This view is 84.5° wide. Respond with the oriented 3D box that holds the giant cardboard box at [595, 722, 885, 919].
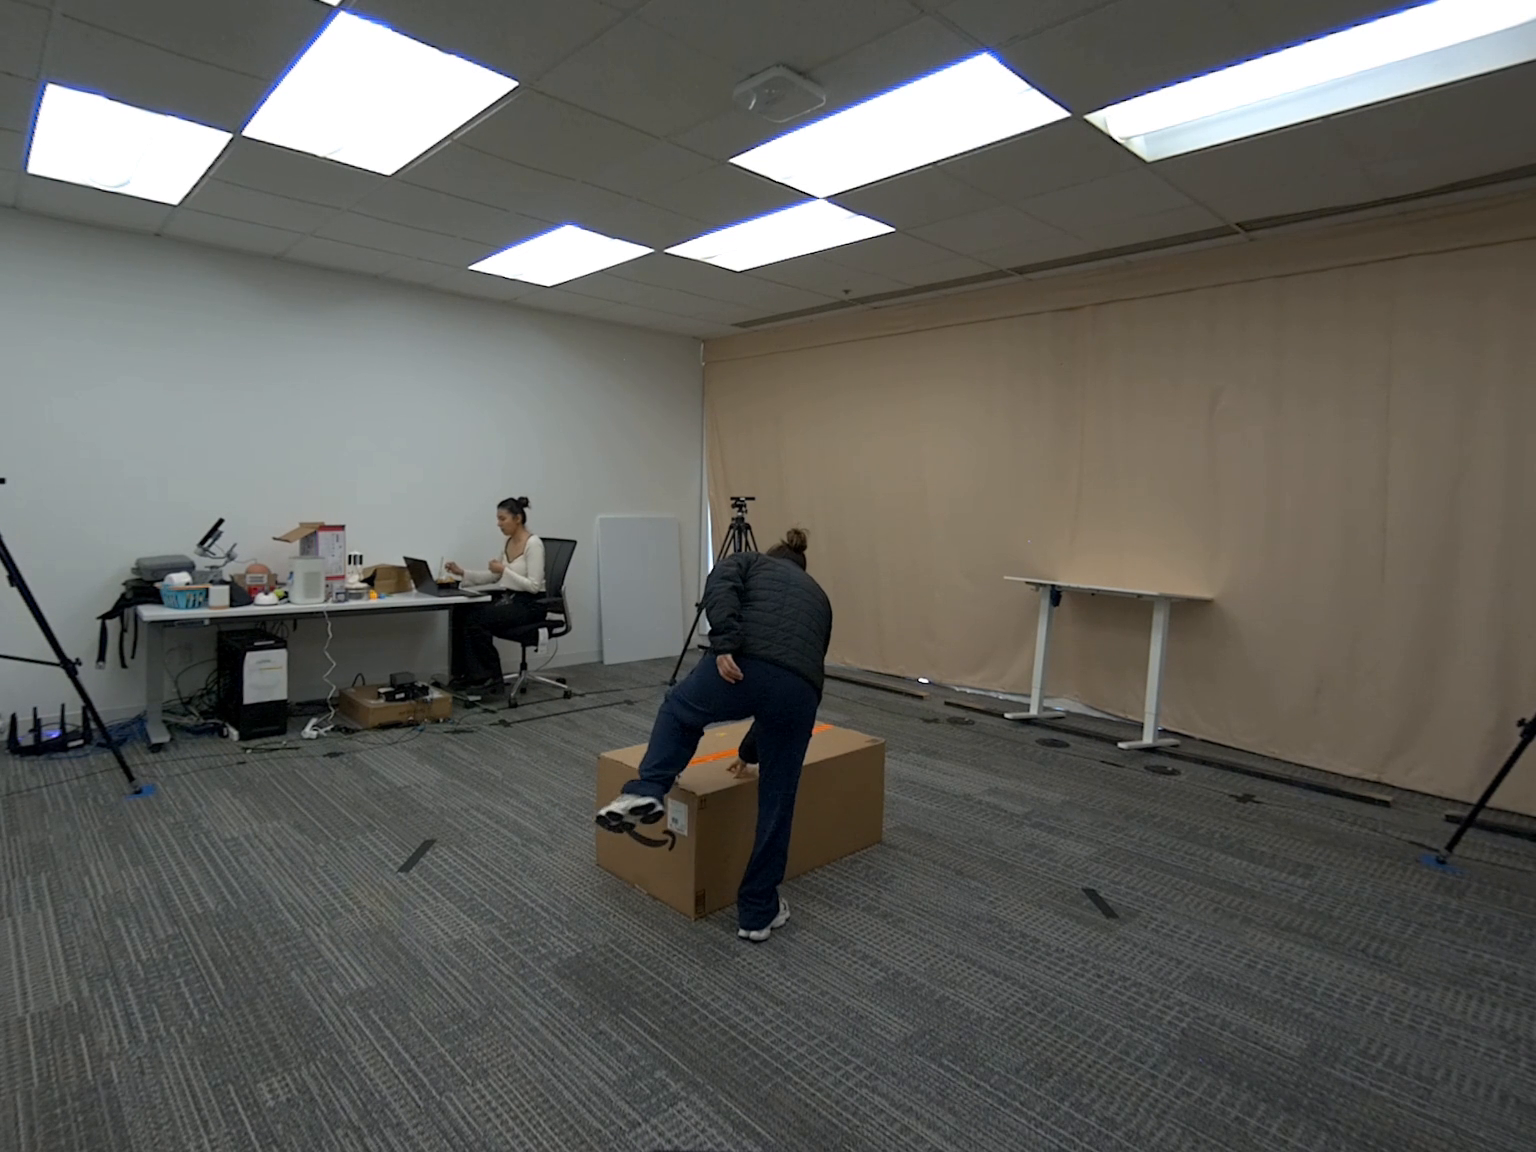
[{"bbox_3d":[-0.090,0.883,3.297,1.003,0.445,0.599,-2,7,-44],"label":"giant cardboard box"}]
